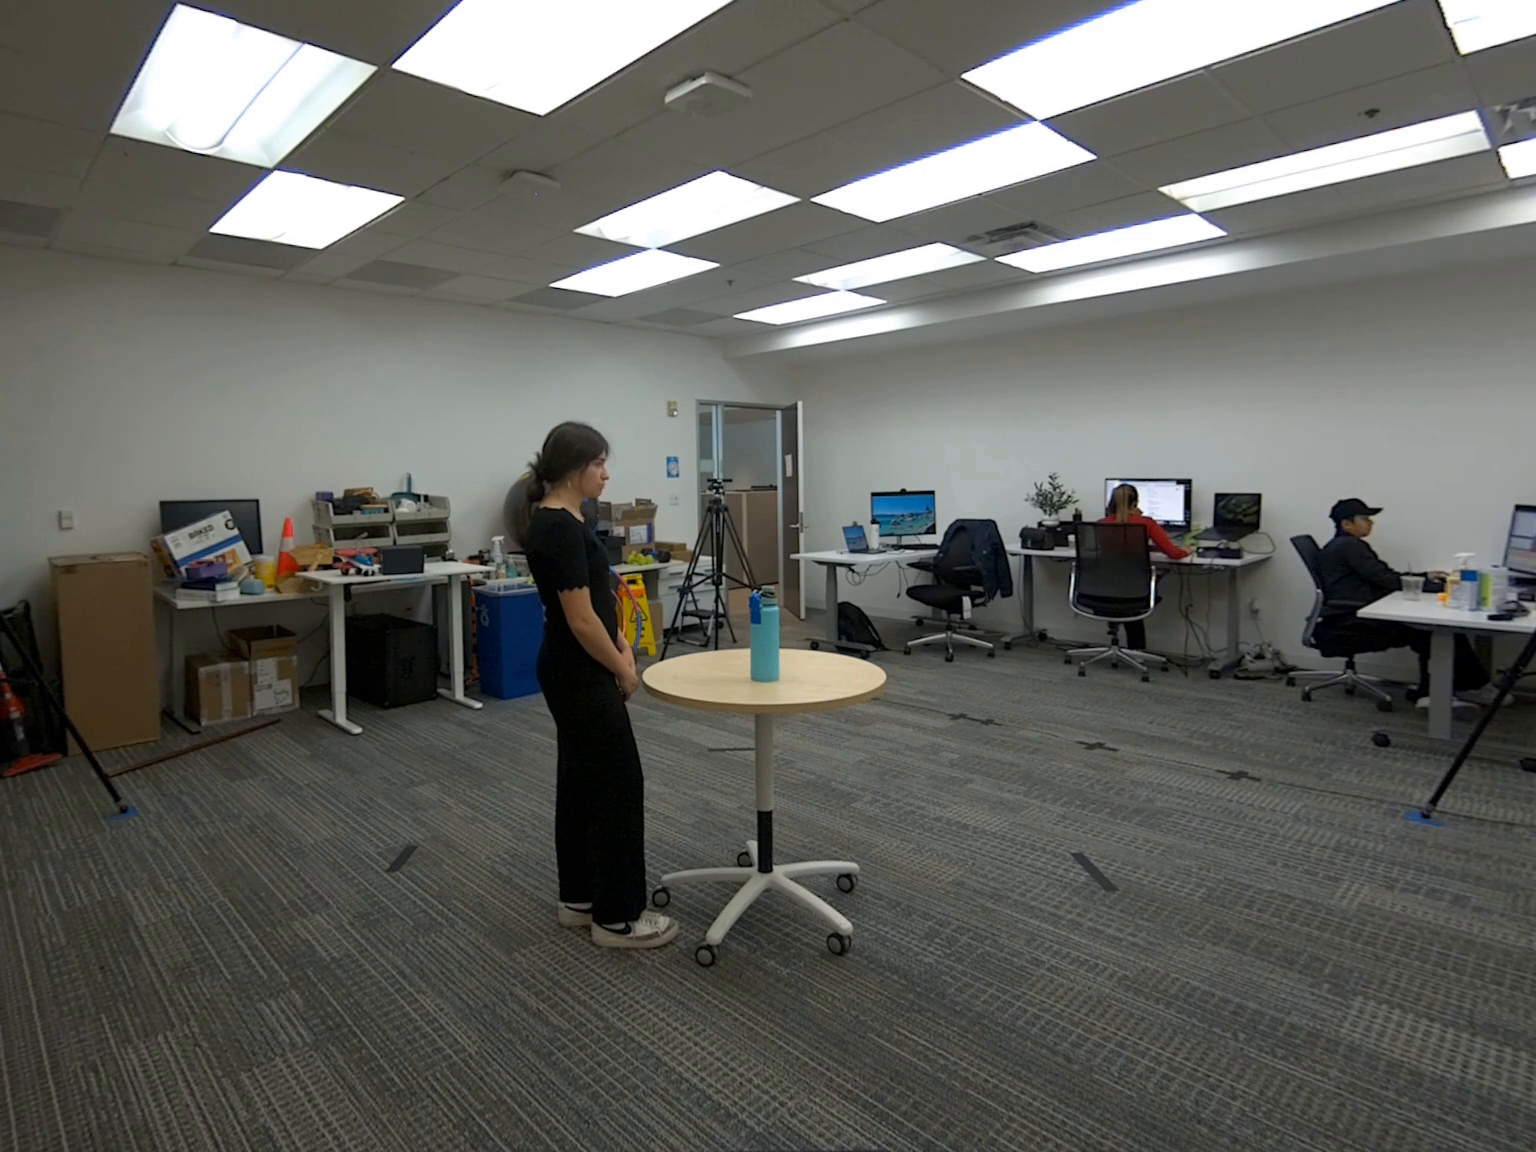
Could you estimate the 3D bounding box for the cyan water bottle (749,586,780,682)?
[{"bbox_3d":[-0.013,0.176,2.610,0.092,0.282,0.093,-4,5,-1],"label":"cyan water bottle"}]
